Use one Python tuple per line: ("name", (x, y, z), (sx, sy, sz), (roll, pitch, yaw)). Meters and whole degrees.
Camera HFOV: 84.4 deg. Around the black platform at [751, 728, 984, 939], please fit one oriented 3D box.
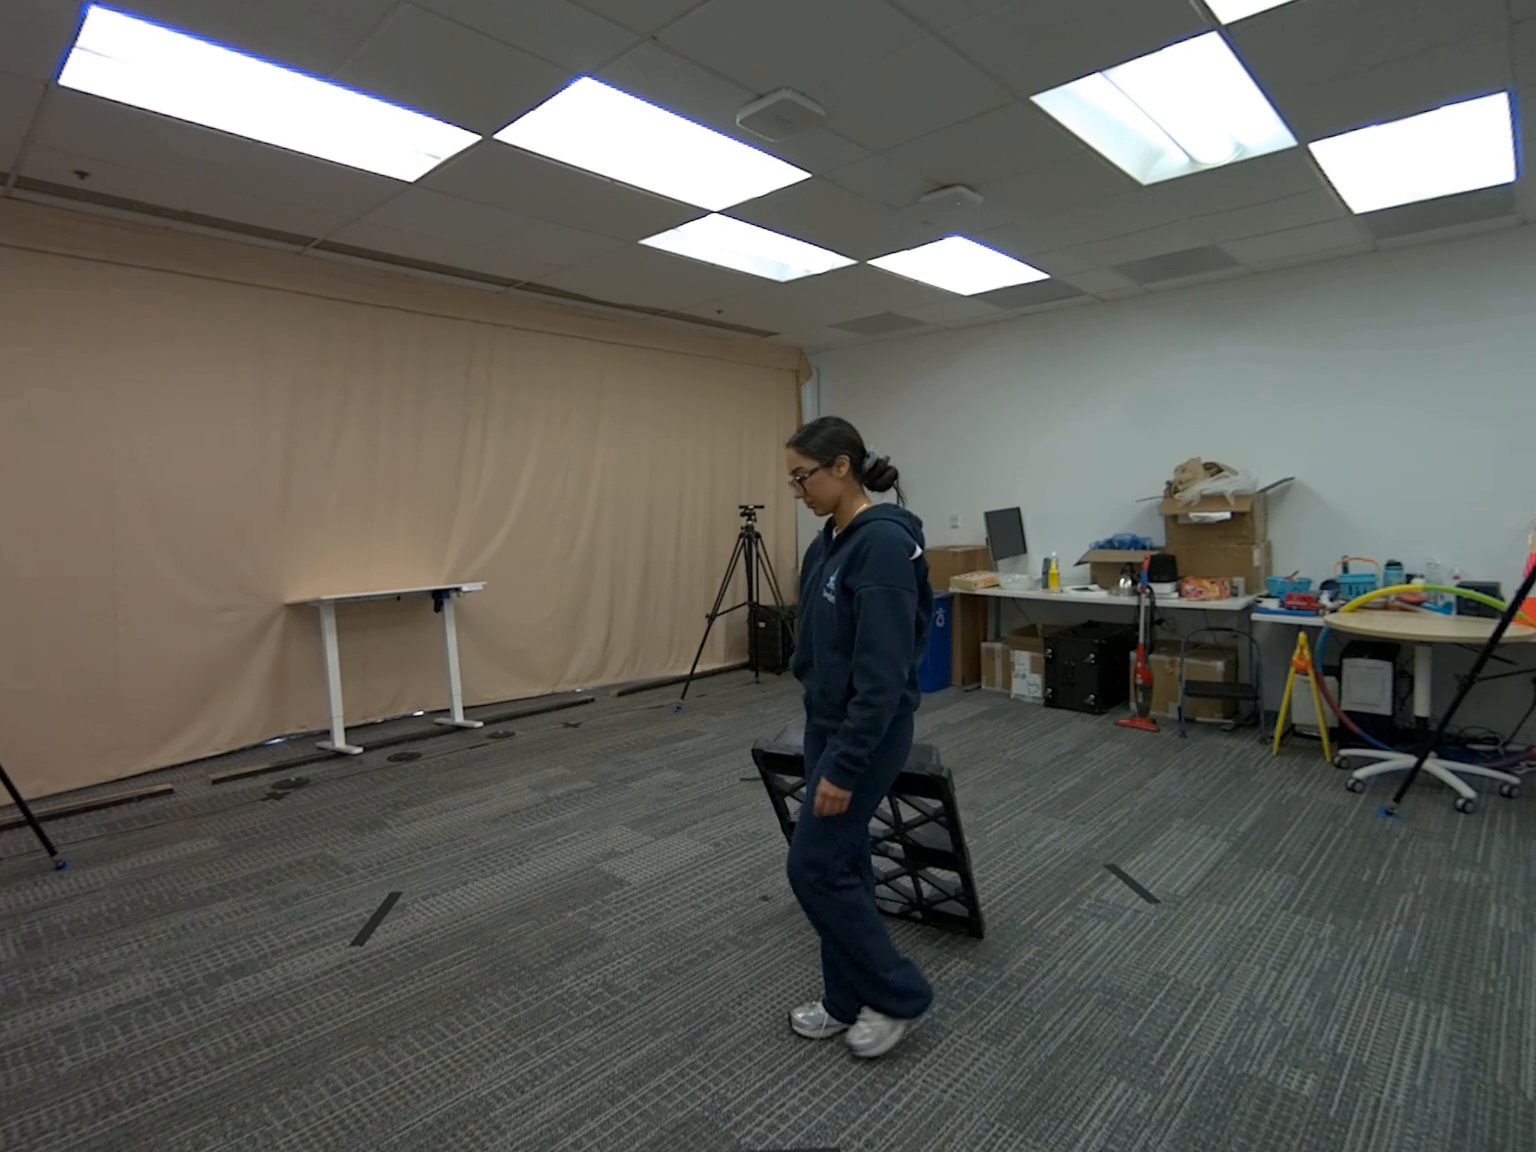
("black platform", (0.340, 0.805, 2.646), (0.622, 0.785, 0.143), (2, 38, 28))
